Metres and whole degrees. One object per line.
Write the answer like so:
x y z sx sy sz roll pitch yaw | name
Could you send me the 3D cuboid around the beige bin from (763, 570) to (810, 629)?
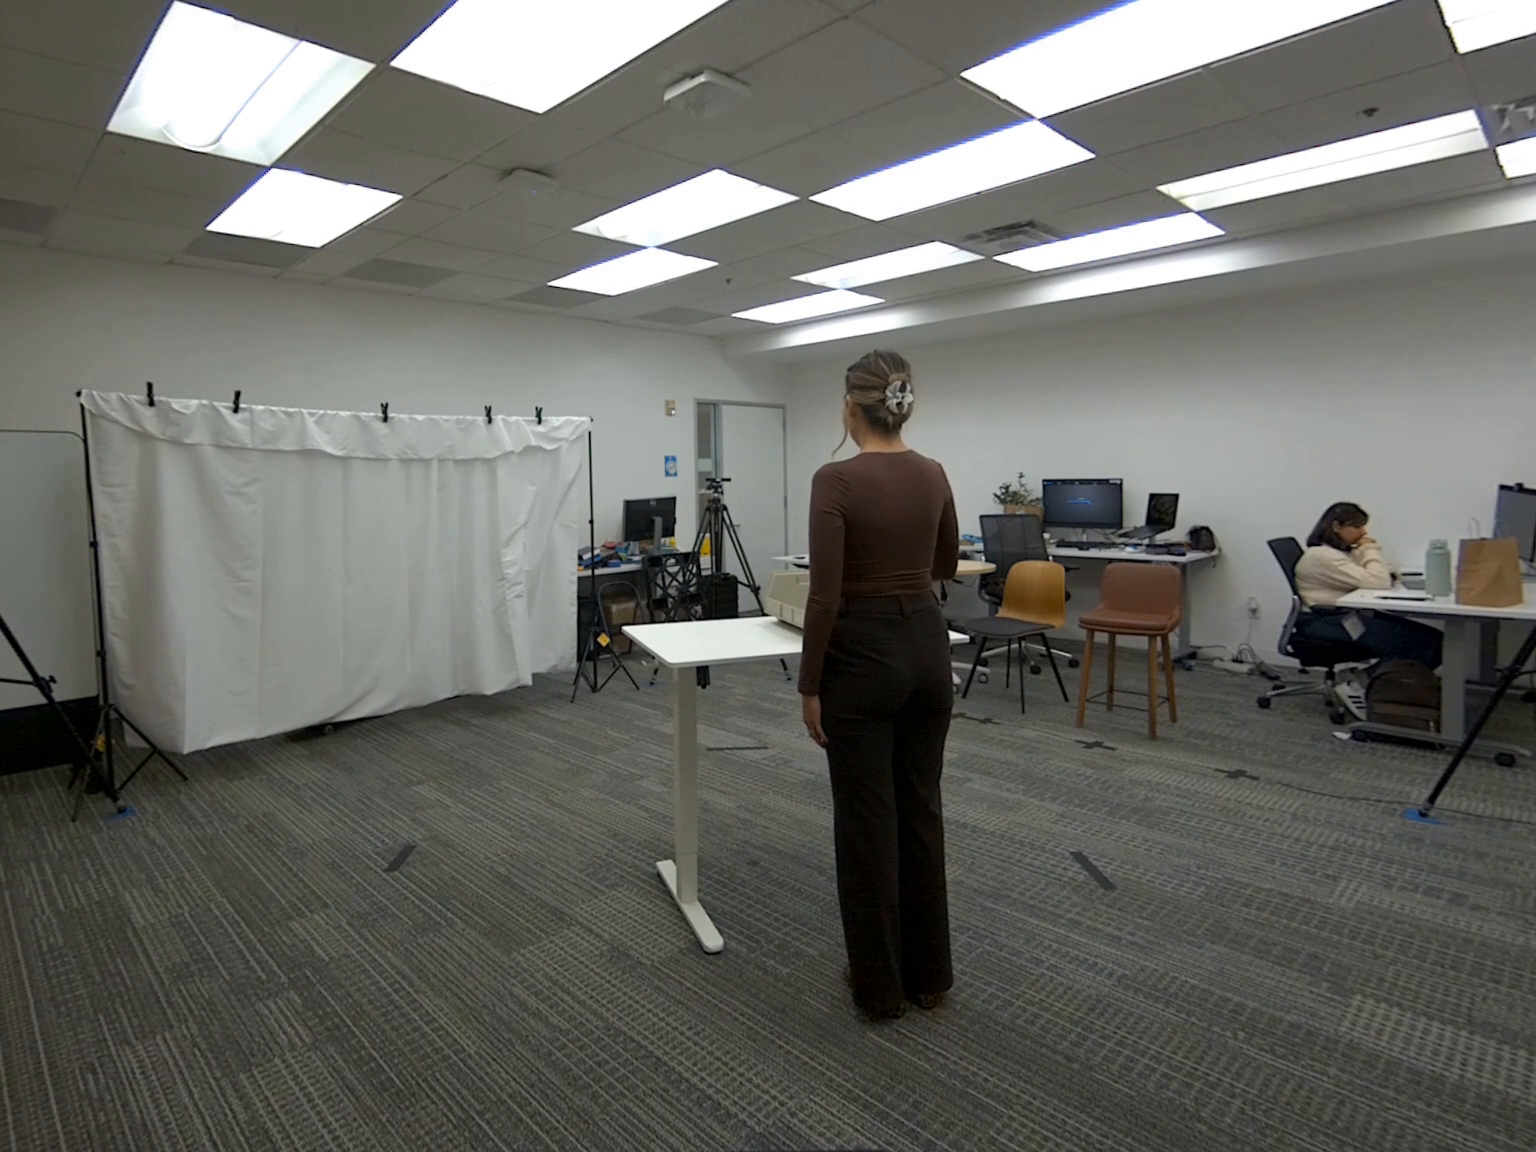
0.238 0.091 2.897 0.371 0.188 0.431 -2 6 -20 | beige bin
